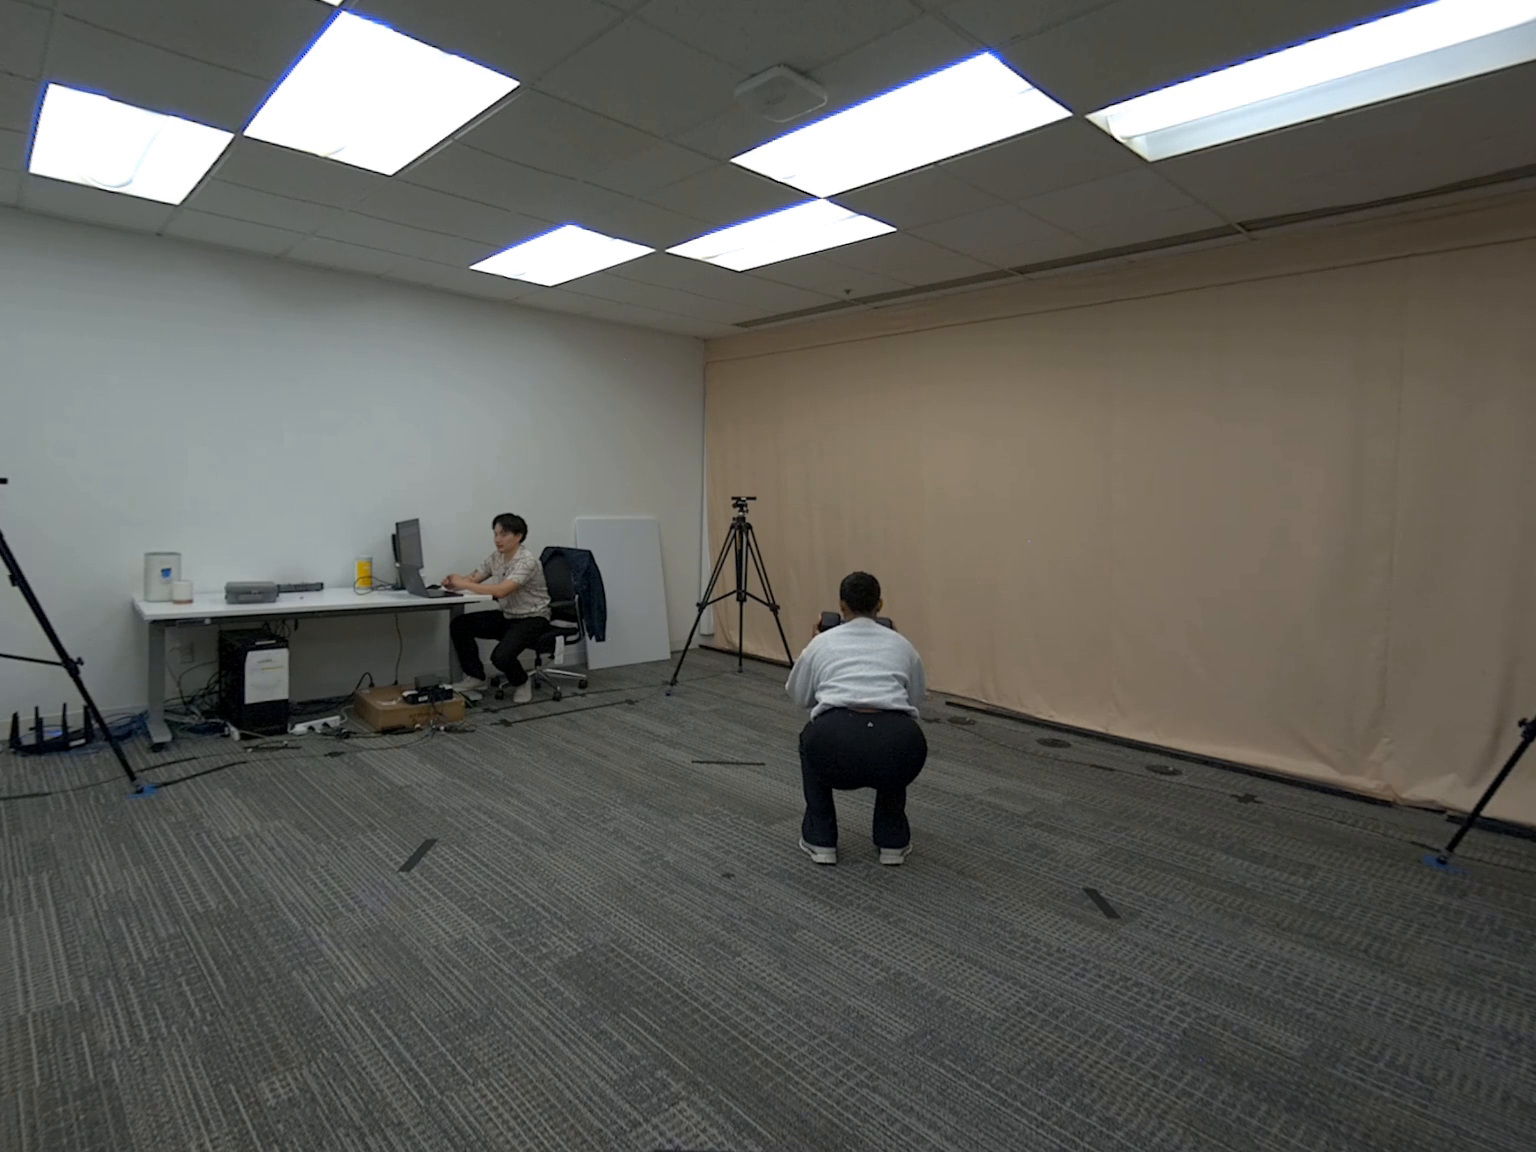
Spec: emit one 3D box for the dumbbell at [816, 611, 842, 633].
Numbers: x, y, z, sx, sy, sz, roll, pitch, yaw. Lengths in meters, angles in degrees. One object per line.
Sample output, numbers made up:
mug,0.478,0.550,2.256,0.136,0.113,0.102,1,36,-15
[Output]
dumbbell,0.367,0.201,3.529,0.294,0.121,0.110,5,33,1
